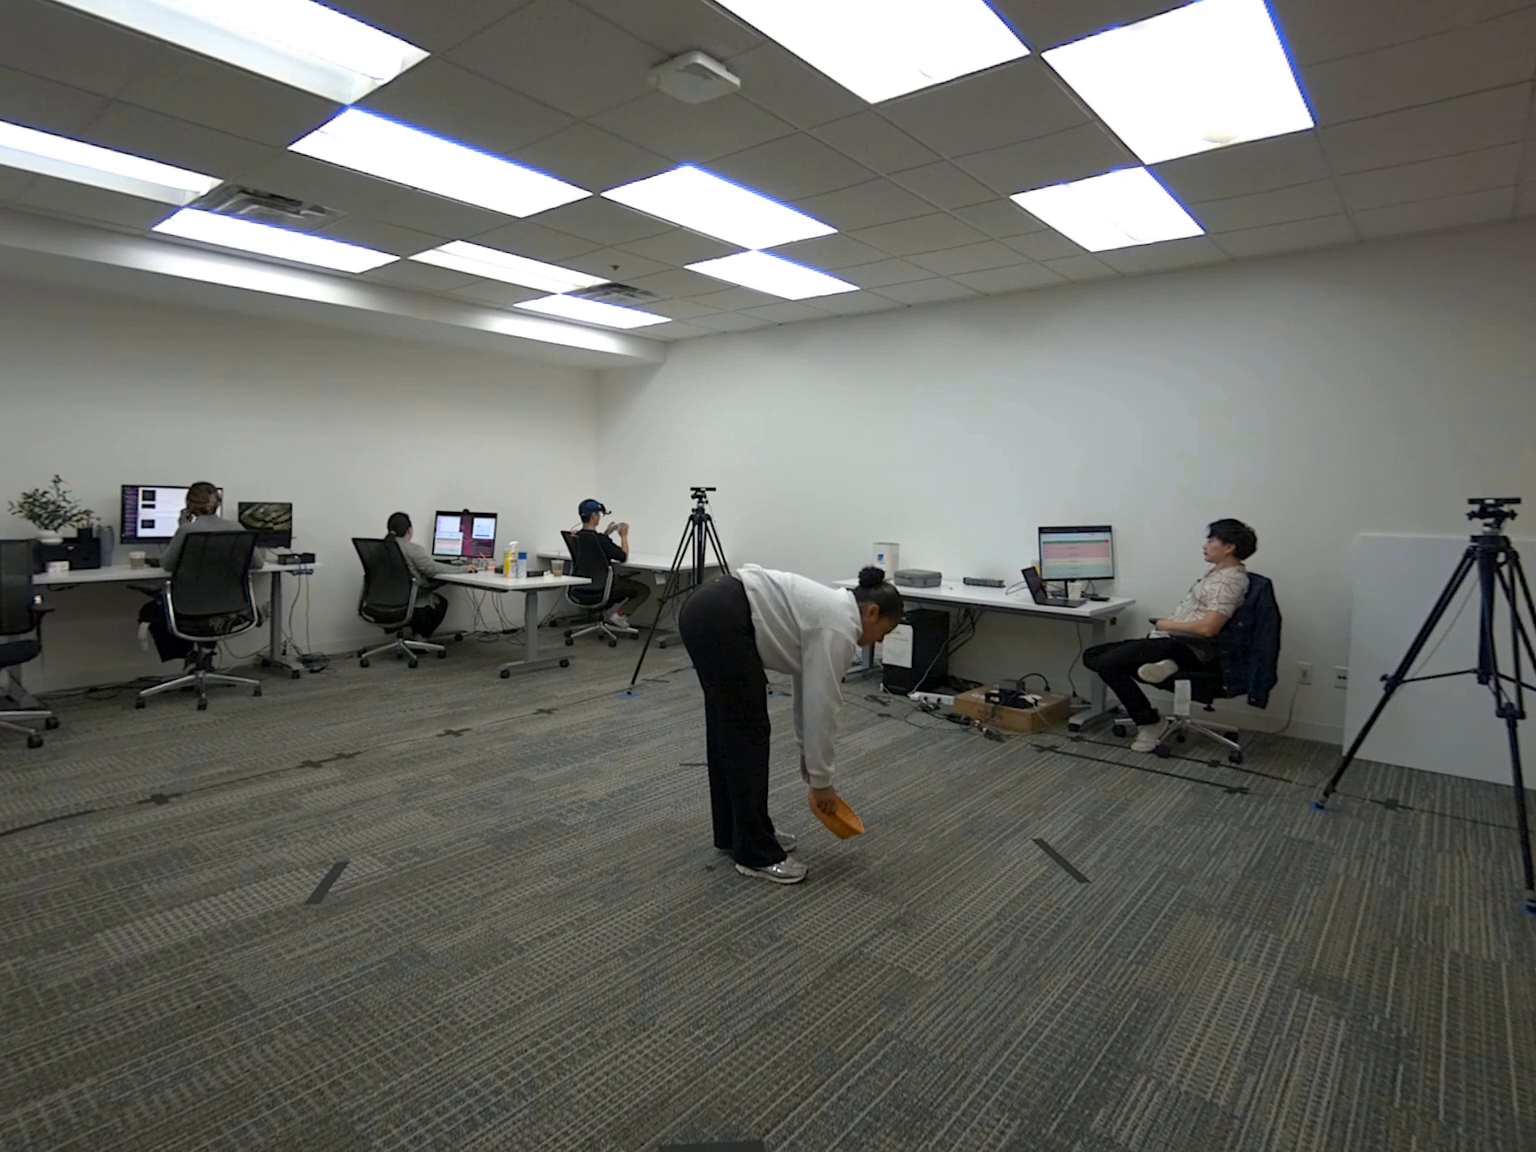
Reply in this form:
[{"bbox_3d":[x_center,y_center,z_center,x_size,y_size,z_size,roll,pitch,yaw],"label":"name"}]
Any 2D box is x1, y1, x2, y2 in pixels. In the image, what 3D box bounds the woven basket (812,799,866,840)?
[{"bbox_3d":[0.238,0.859,3.173,0.253,0.073,0.349,39,0,1],"label":"woven basket"}]
